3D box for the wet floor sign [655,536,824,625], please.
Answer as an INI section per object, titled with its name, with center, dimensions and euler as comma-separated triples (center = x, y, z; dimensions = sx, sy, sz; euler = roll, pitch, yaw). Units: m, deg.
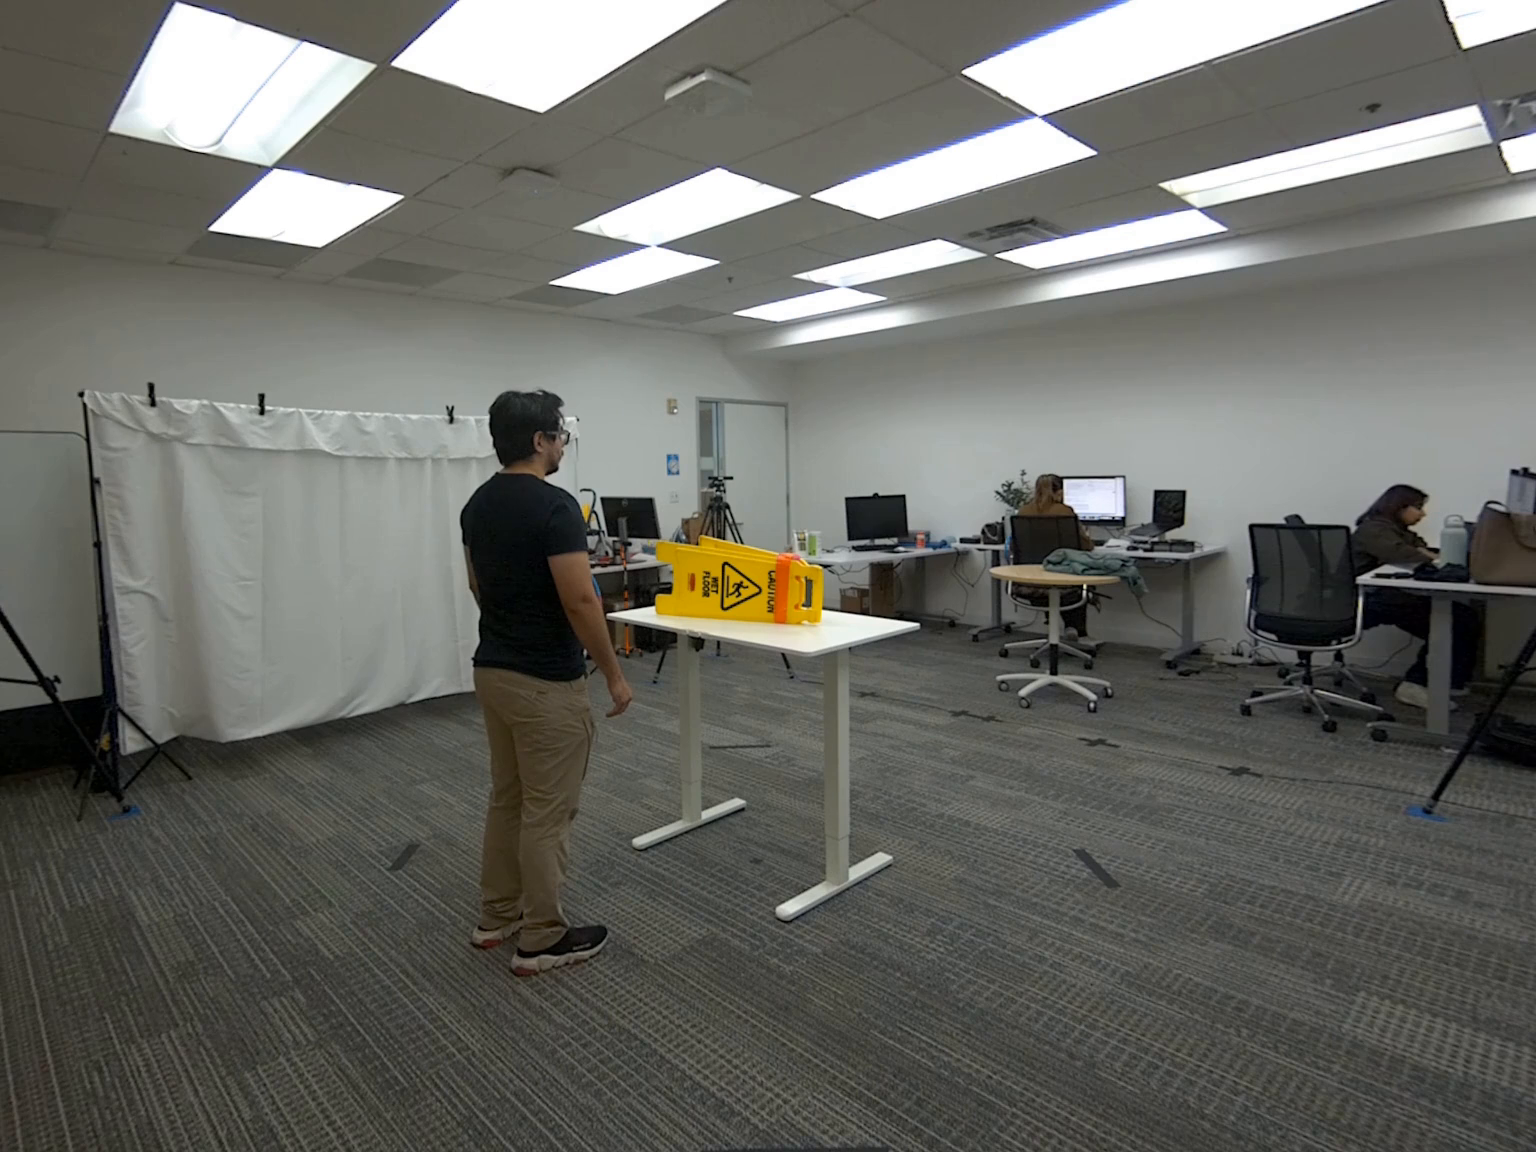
[wet floor sign]
center = -0.080, 0.030, 3.113
dimensions = 0.666, 0.280, 0.283
euler = 8, 10, 36
